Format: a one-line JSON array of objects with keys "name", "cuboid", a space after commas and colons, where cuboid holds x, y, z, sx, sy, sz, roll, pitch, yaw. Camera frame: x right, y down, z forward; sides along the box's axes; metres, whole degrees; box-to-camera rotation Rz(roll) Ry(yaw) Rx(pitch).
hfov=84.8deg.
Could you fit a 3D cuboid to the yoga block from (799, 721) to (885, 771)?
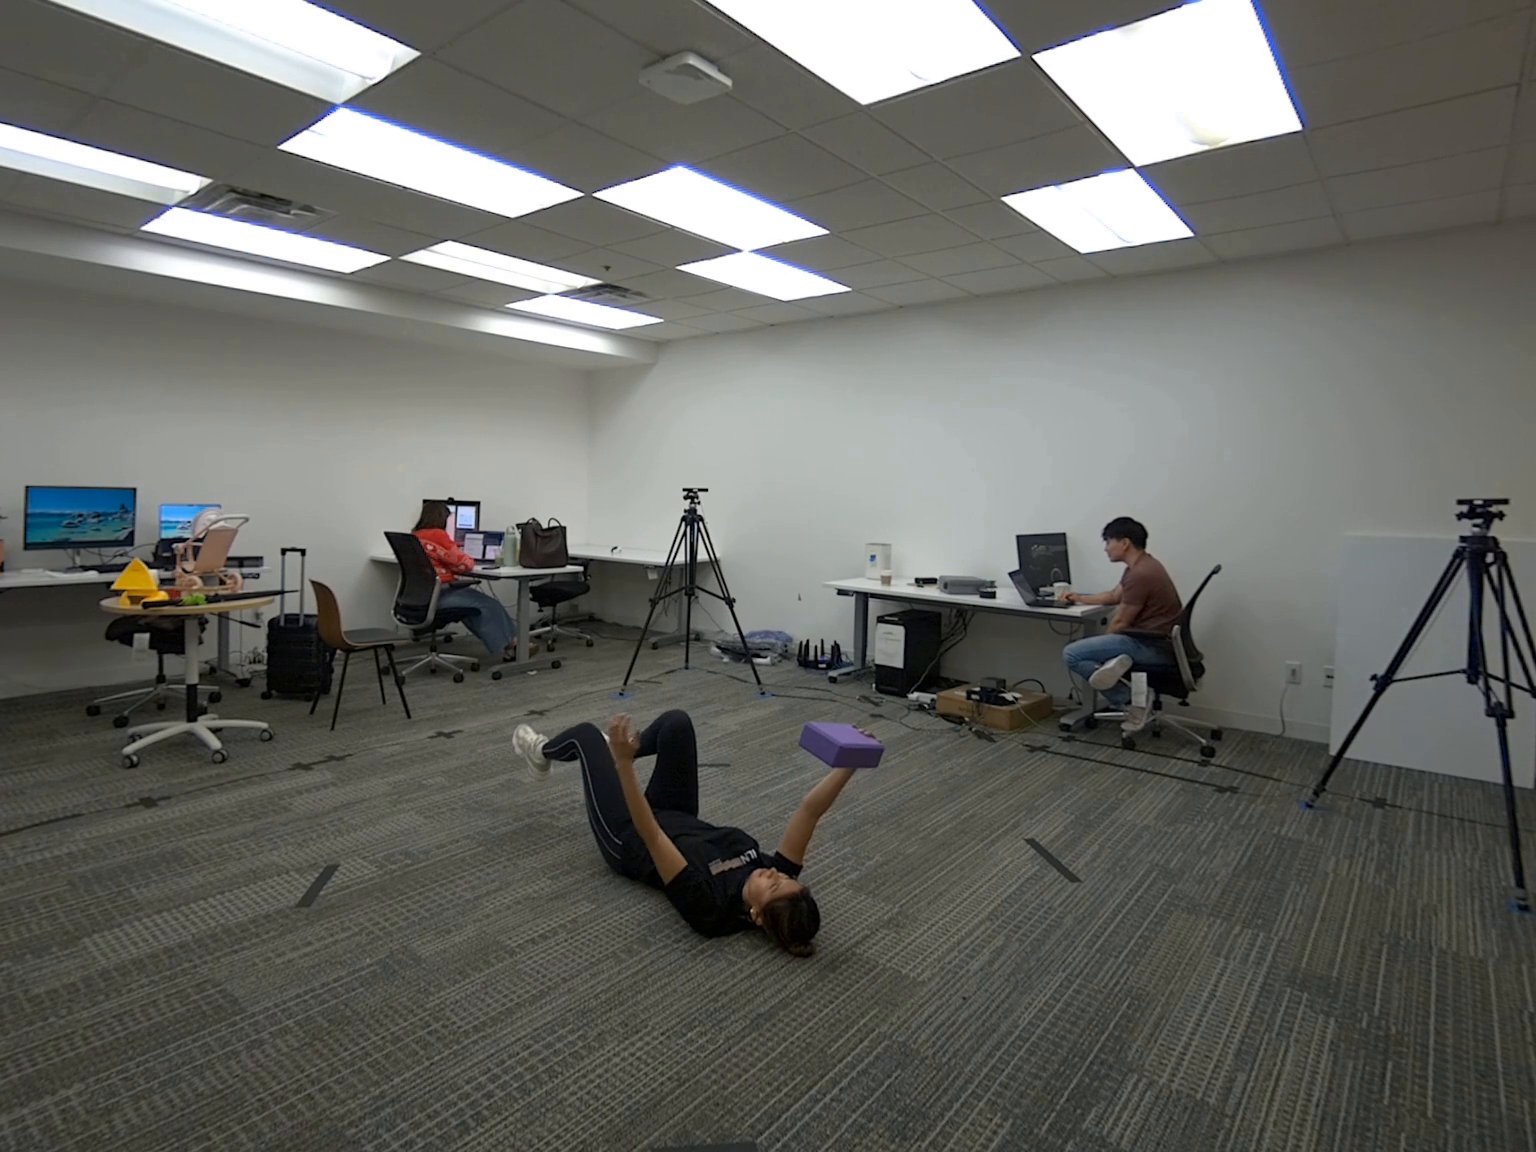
[{"name": "yoga block", "cuboid": [0.208, 0.495, 2.486, 0.221, 0.076, 0.155, 14, 8, -47]}]
